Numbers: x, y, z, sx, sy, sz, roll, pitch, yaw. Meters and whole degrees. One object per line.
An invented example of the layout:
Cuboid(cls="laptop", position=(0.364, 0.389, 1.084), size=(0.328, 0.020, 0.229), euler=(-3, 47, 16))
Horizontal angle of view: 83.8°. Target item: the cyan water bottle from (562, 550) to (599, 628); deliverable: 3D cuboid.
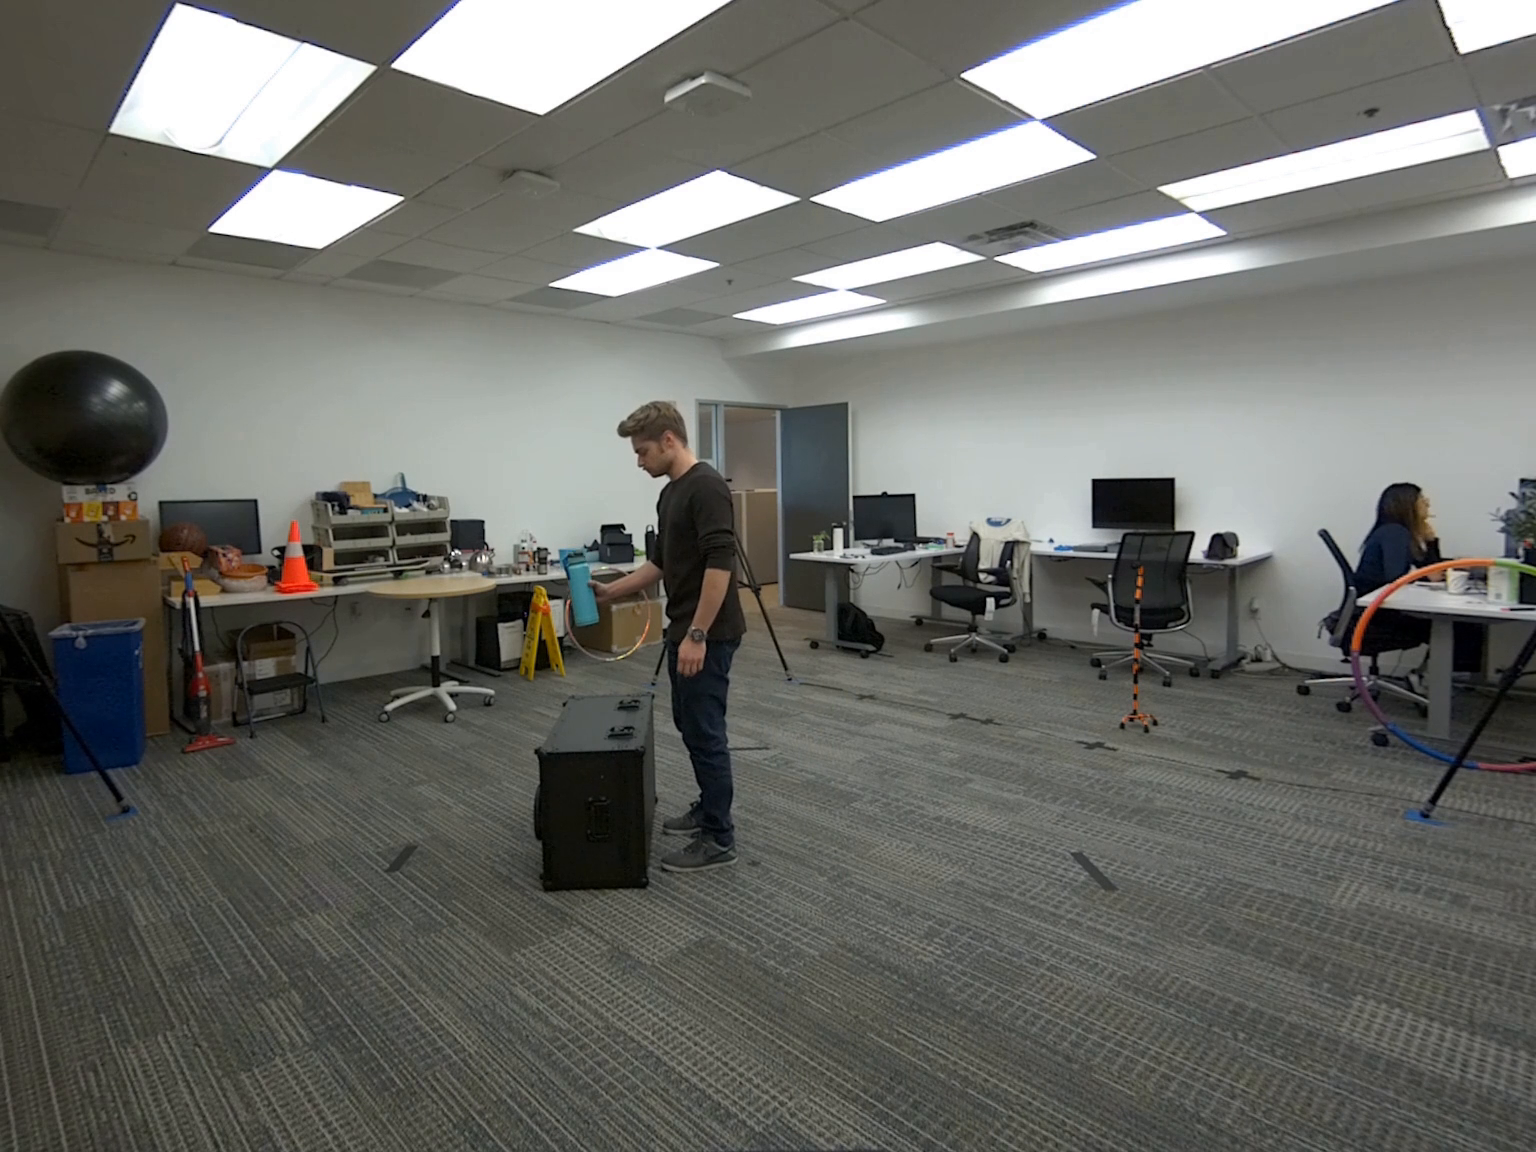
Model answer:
Cuboid(cls="cyan water bottle", position=(-0.704, 0.042, 3.223), size=(0.092, 0.283, 0.092), euler=(-14, 0, -1))
